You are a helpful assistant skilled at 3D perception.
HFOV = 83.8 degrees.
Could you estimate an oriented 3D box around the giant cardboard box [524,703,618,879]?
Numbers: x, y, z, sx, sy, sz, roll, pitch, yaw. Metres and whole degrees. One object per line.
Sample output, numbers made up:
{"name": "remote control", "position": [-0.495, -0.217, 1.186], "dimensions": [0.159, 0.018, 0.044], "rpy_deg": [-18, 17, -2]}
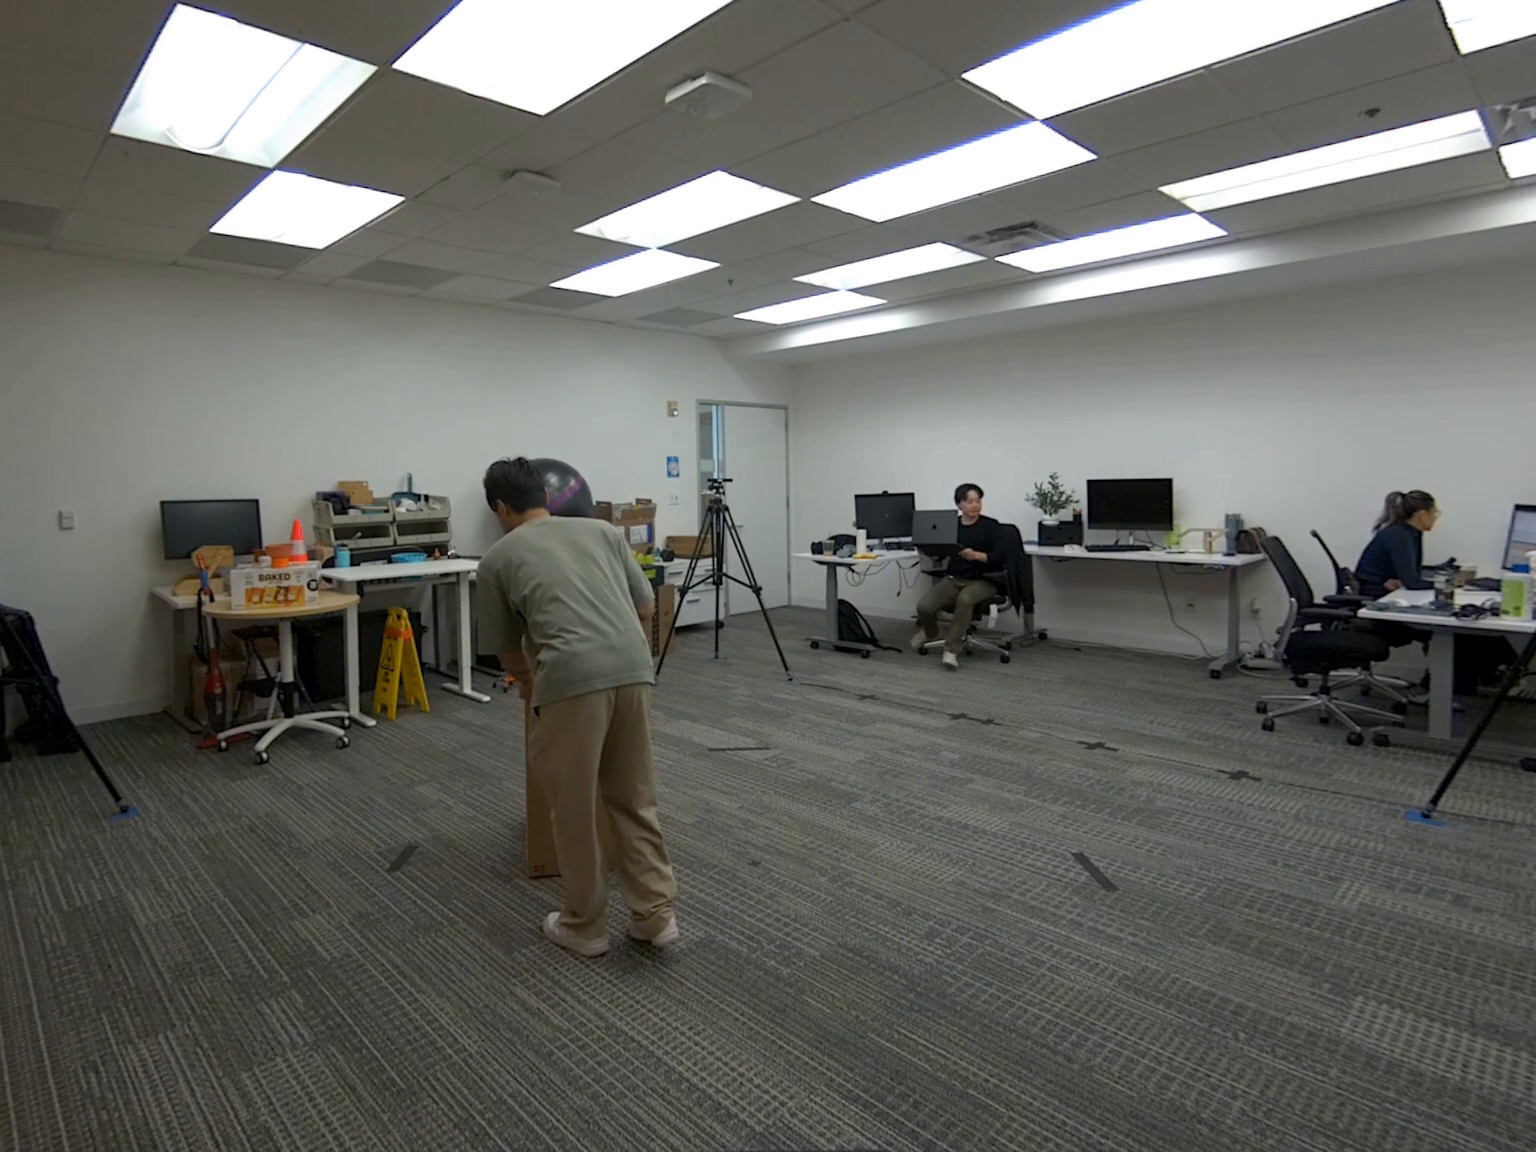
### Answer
{"name": "giant cardboard box", "position": [-0.720, 0.526, 3.308], "dimensions": [0.421, 1.023, 0.587], "rpy_deg": [-1, 3, -15]}
